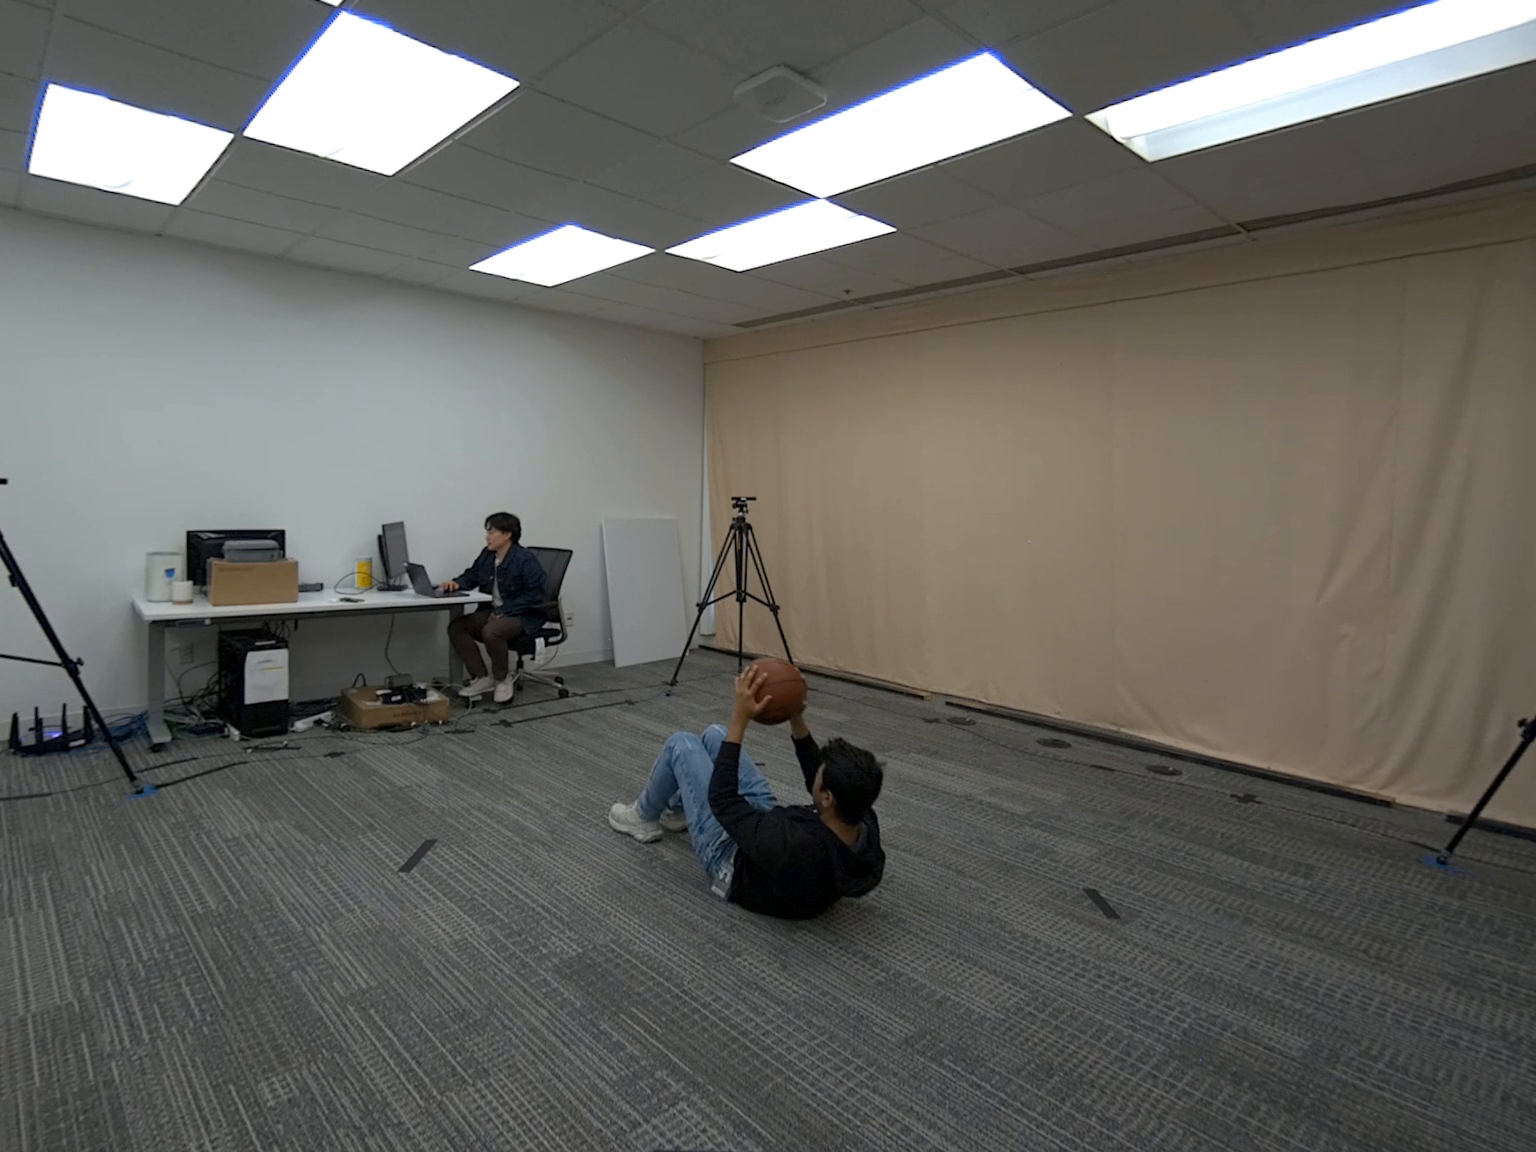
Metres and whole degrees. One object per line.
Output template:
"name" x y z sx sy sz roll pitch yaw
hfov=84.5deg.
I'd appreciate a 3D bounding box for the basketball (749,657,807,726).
"basketball" 0.013 0.414 2.961 0.236 0.235 0.237 1 4 -1
